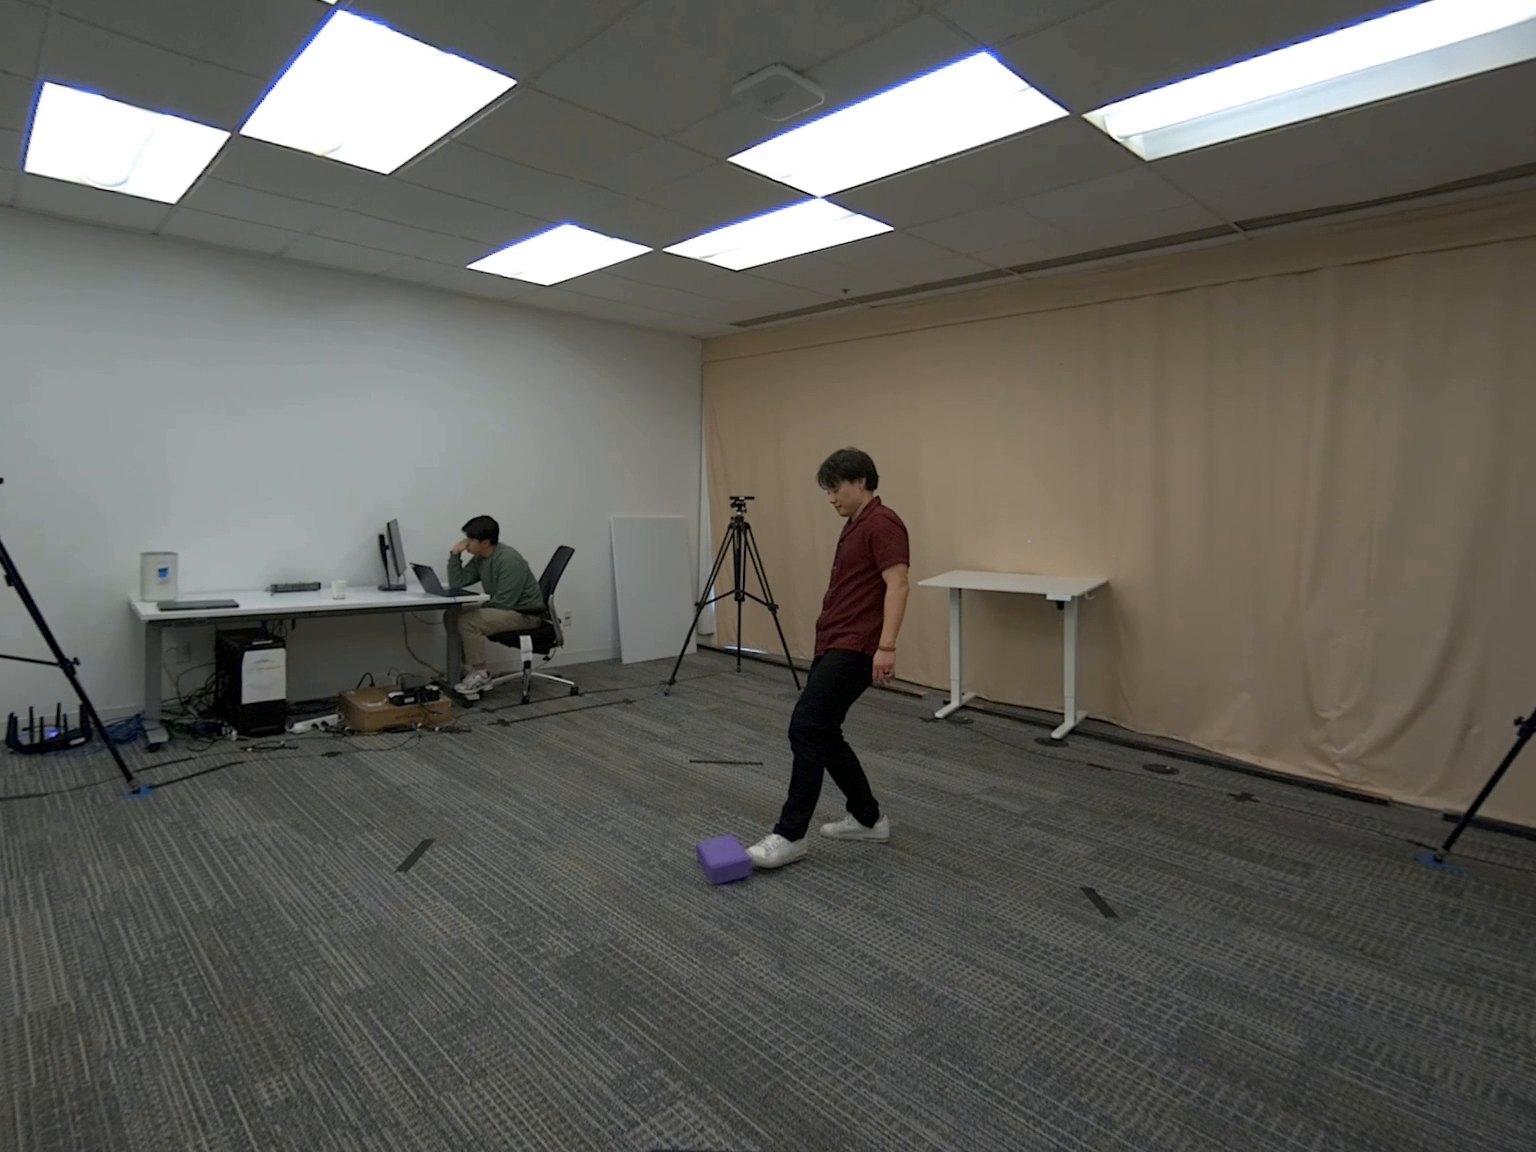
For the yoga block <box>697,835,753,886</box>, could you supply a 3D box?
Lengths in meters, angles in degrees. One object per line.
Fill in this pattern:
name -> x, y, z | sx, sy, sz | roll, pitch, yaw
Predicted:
yoga block -> -0.180, 1.051, 3.134 | 0.147, 0.076, 0.233 | -7, 8, -17
